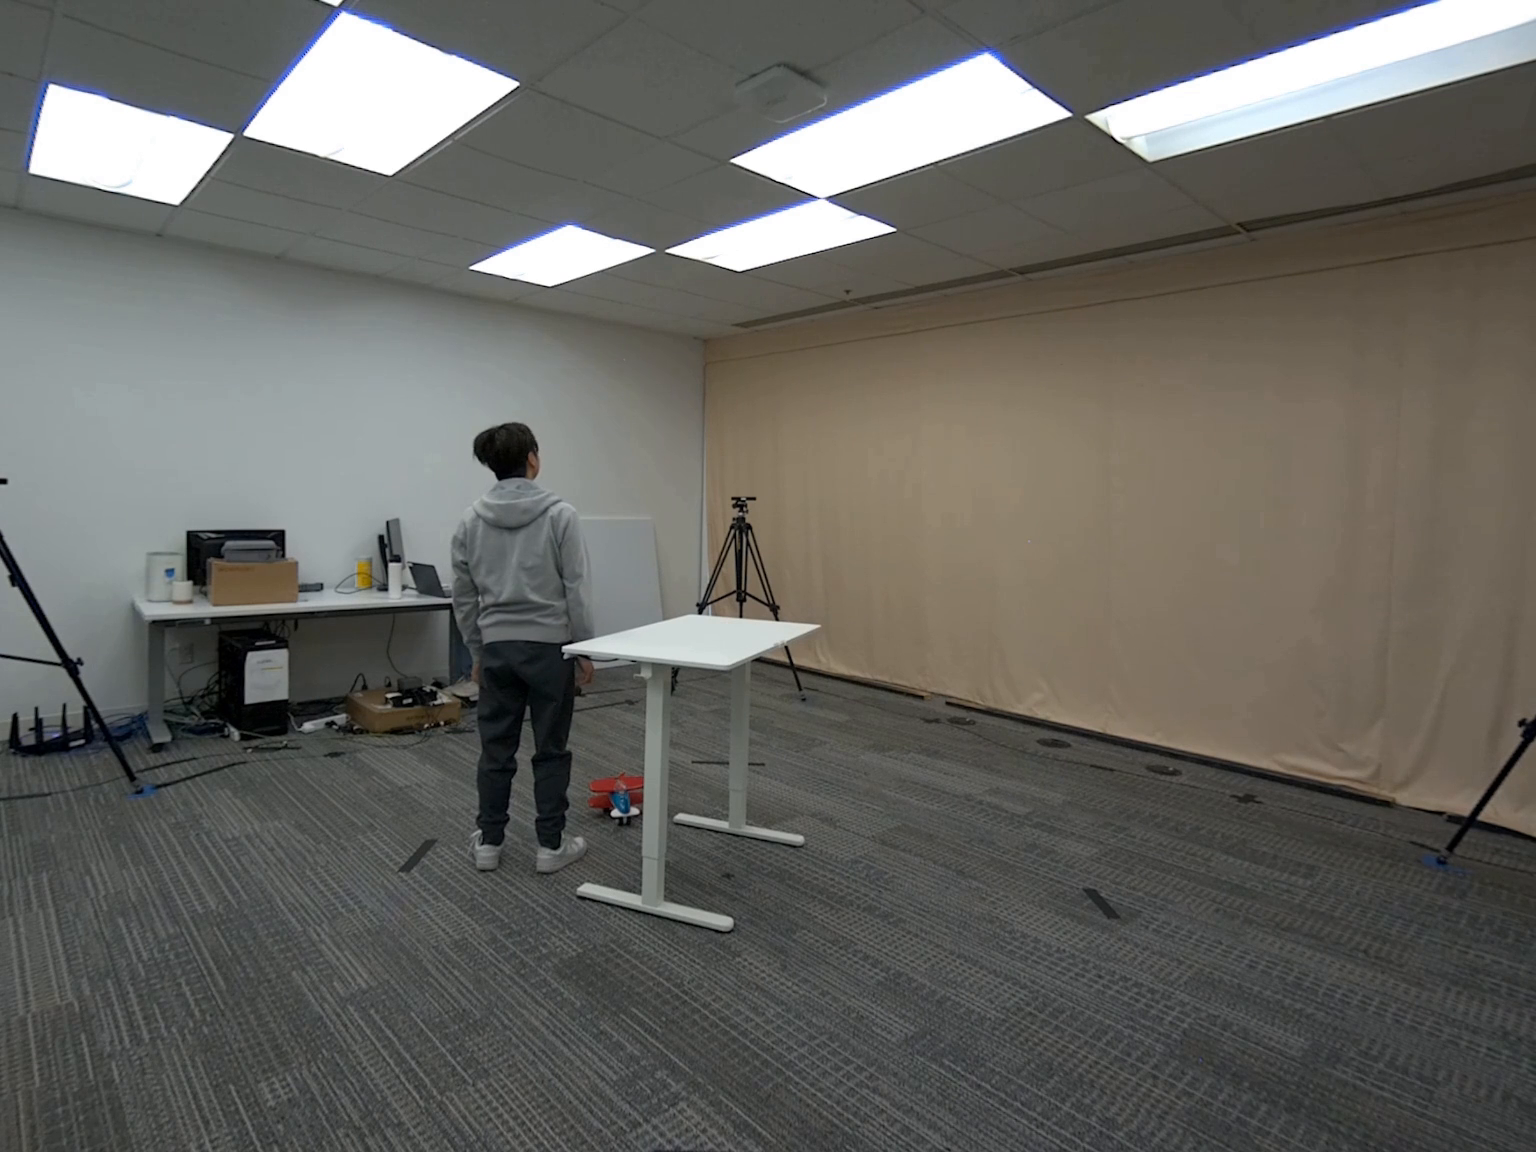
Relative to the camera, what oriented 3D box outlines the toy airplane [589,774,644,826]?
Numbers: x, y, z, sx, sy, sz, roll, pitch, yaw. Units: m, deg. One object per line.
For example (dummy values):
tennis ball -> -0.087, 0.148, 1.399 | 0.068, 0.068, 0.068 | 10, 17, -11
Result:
toy airplane -> -0.632, 0.970, 3.665 | 0.266, 0.156, 0.245 | 4, 6, 40
